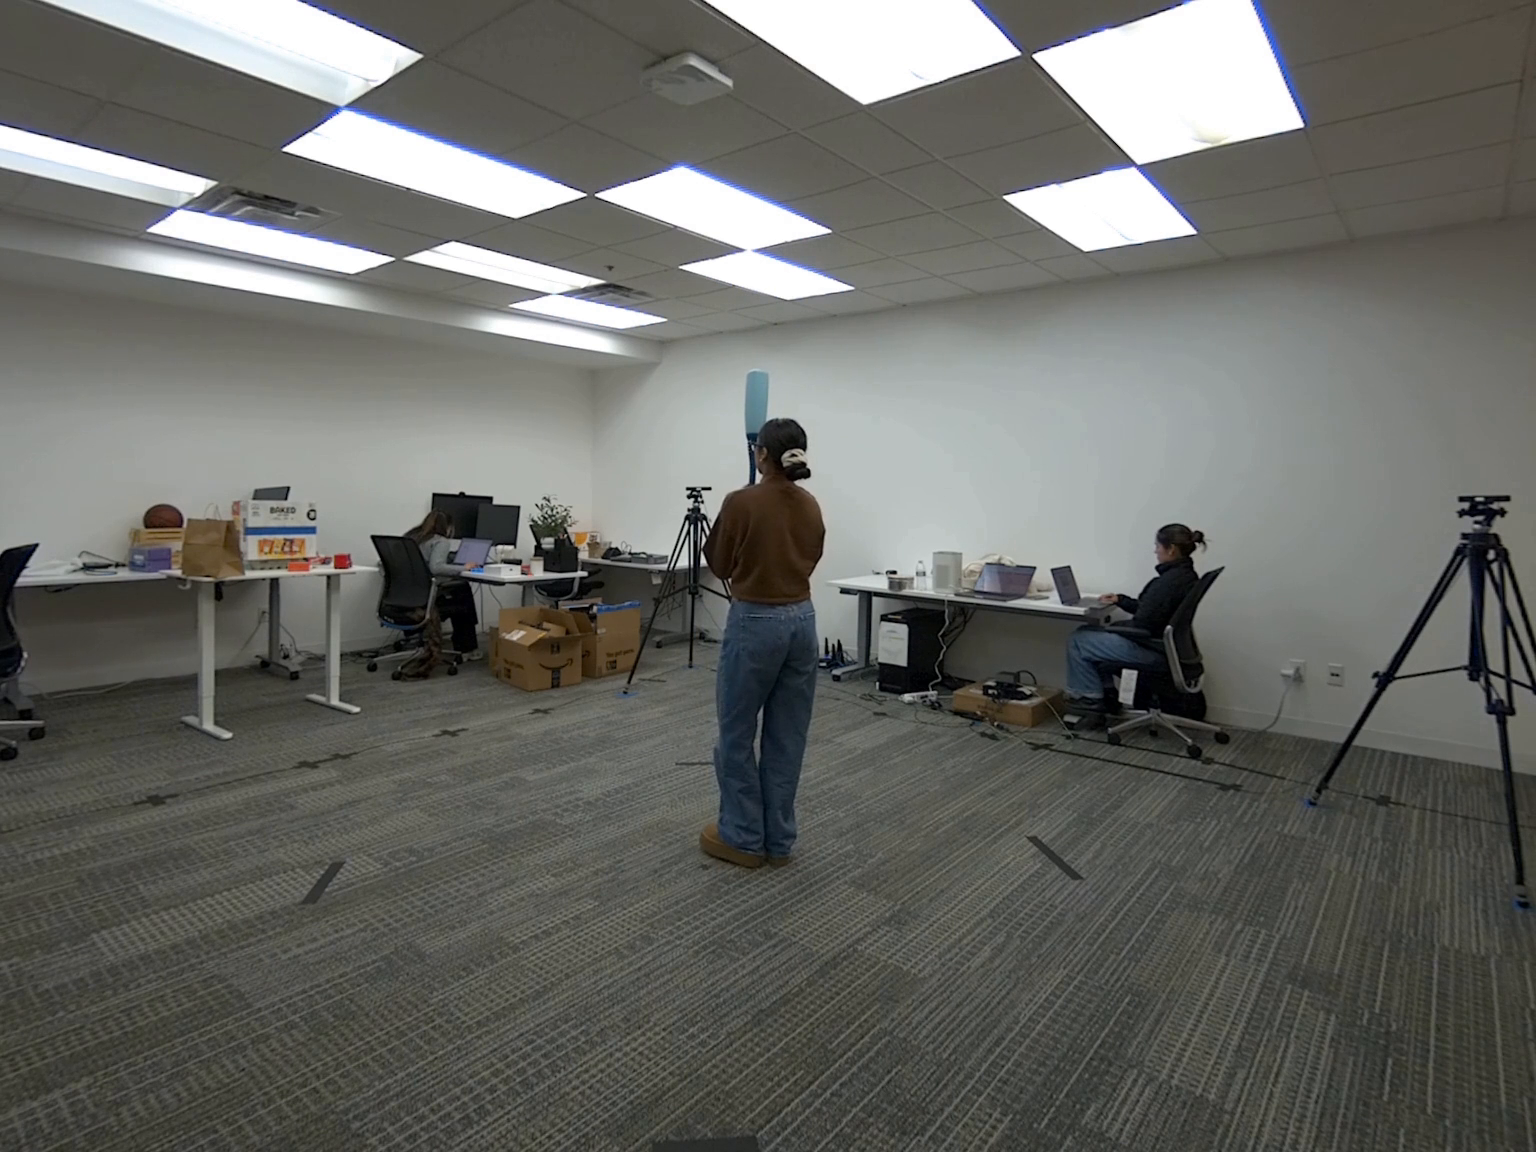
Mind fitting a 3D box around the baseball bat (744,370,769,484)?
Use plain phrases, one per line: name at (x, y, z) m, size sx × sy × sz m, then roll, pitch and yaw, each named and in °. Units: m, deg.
baseball bat at (-0.059, -0.538, 3.308) m, size 0.089 × 0.544 × 0.089 m, roll 1°, pitch -2°, yaw -2°
